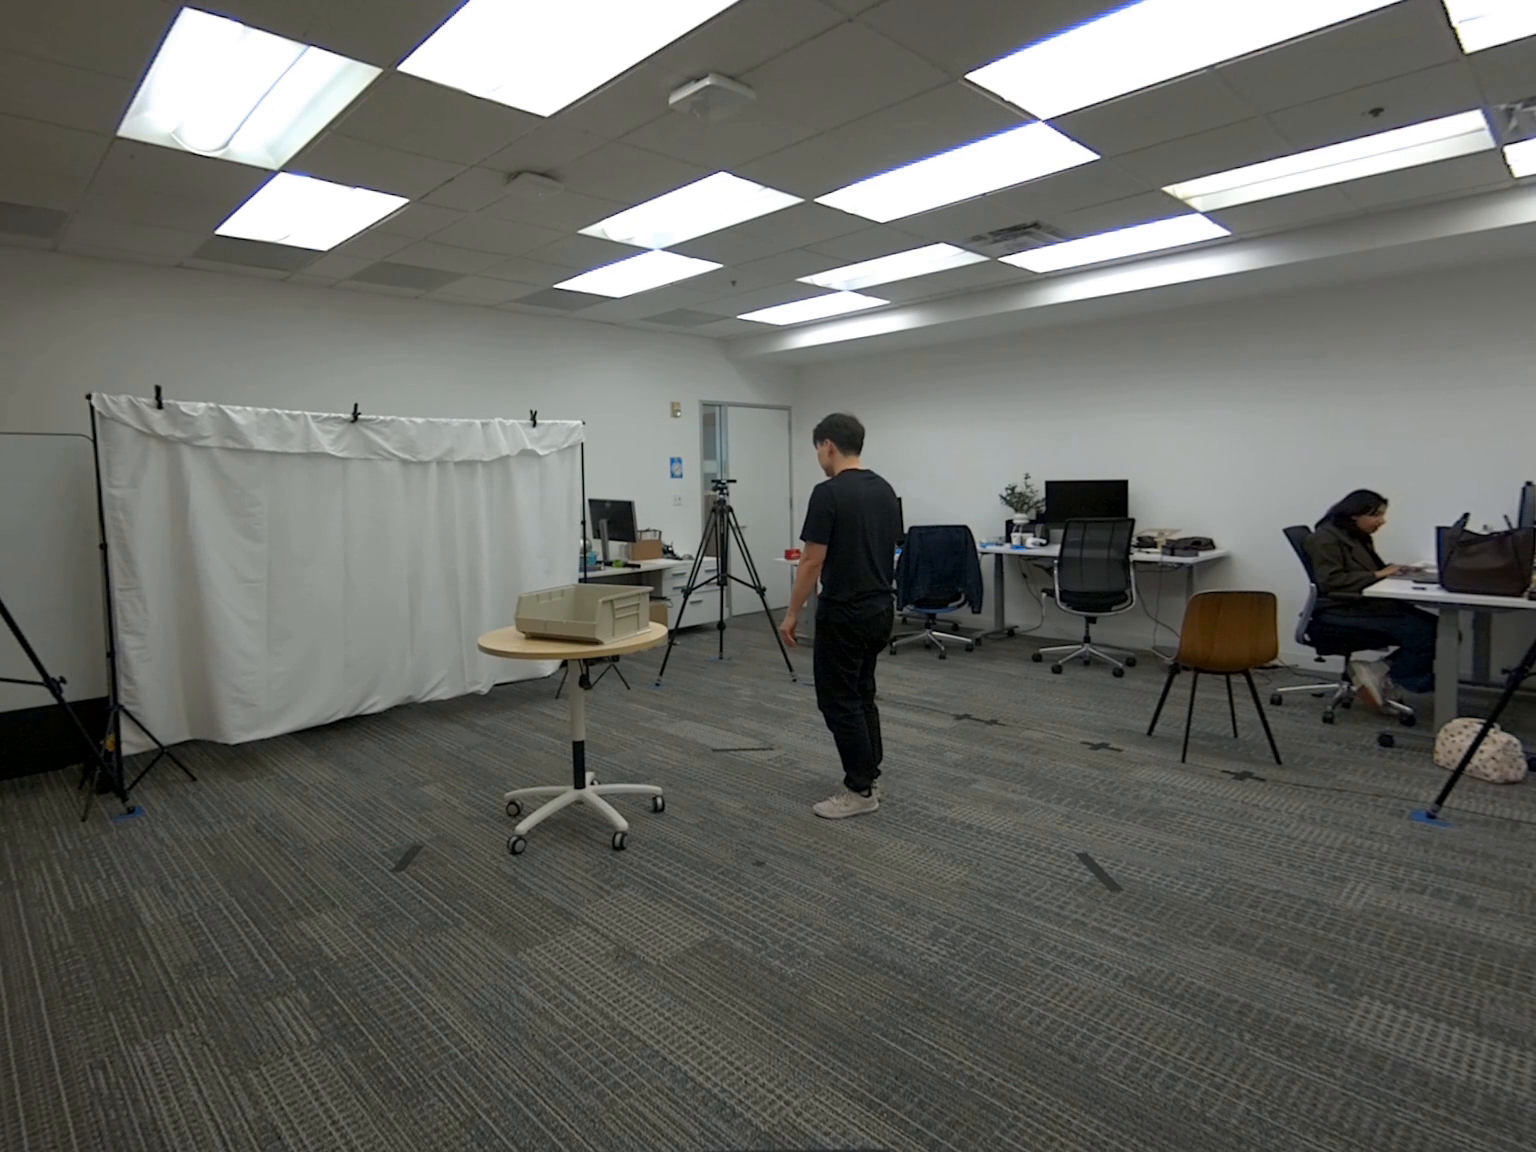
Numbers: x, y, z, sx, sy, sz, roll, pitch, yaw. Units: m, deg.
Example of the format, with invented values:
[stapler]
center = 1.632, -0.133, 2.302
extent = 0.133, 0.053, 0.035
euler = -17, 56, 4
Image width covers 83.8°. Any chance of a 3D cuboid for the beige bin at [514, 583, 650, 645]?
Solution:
[beige bin]
center = -0.739, 0.151, 3.450
extent = 0.433, 0.188, 0.369
euler = 1, 5, 29
